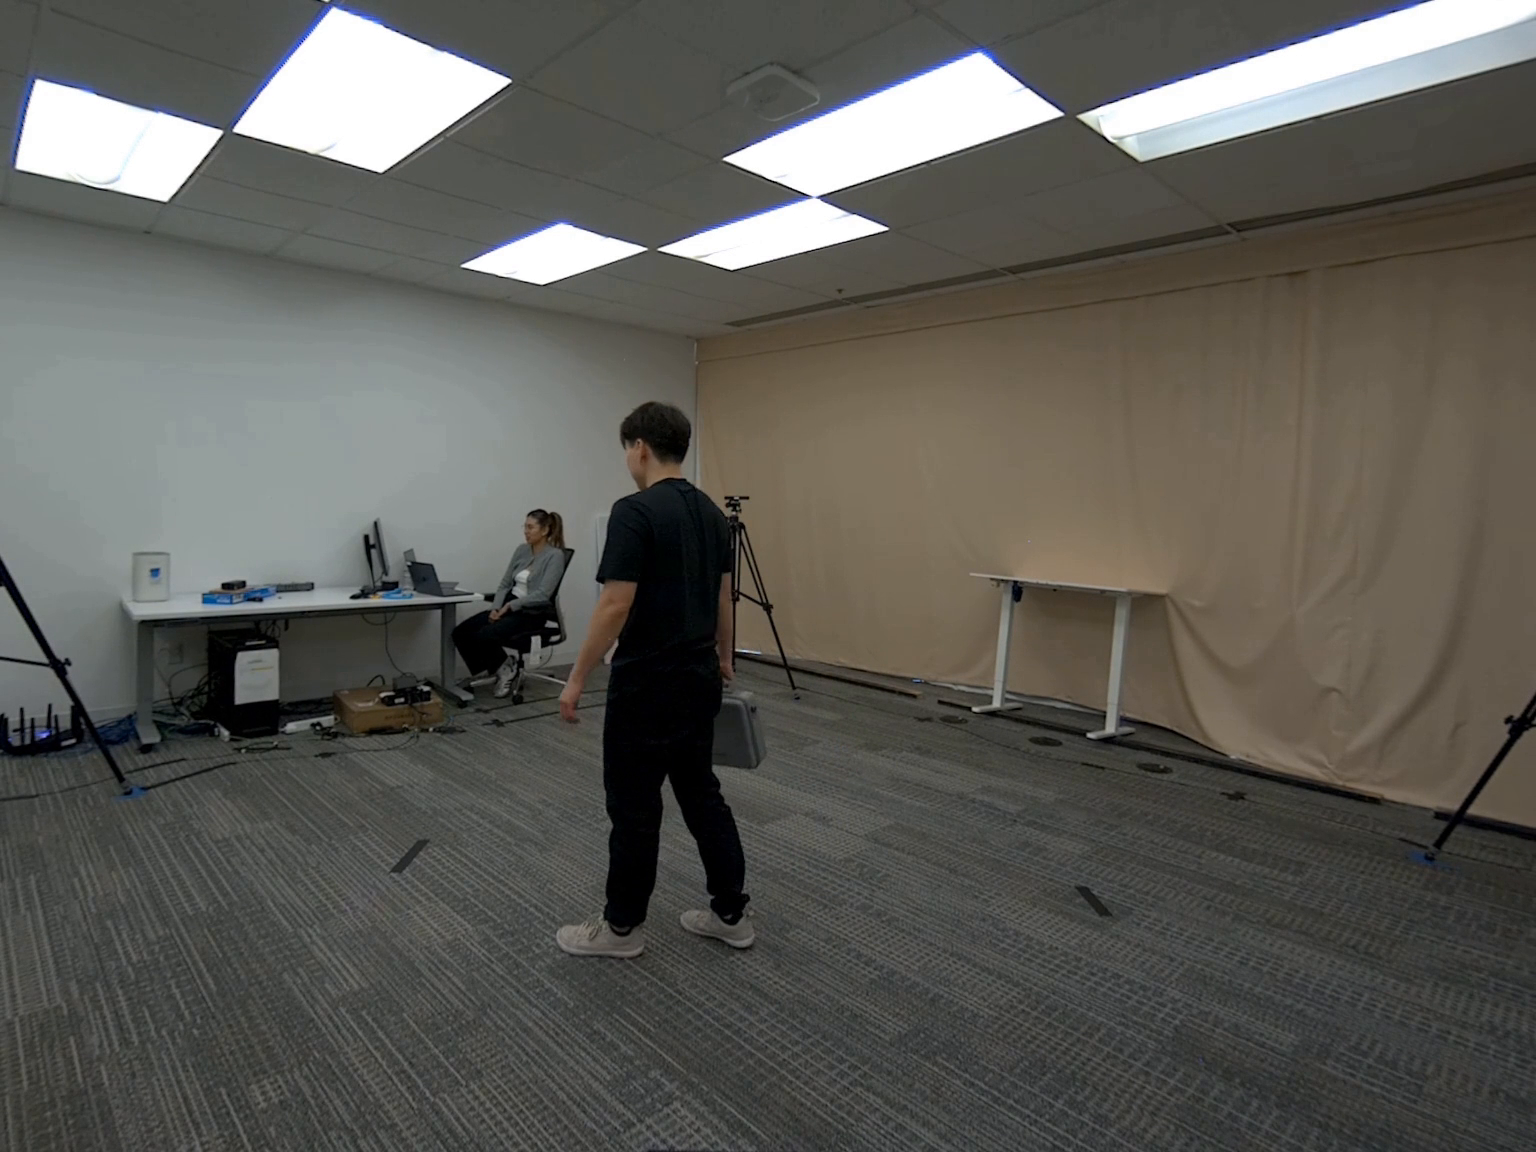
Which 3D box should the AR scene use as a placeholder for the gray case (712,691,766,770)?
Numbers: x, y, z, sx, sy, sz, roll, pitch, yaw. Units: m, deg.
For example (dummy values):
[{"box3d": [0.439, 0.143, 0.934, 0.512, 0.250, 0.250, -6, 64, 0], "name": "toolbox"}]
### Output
[{"box3d": [-0.161, 0.520, 2.875, 0.262, 0.259, 0.103, -3, 9, 32], "name": "gray case"}]
